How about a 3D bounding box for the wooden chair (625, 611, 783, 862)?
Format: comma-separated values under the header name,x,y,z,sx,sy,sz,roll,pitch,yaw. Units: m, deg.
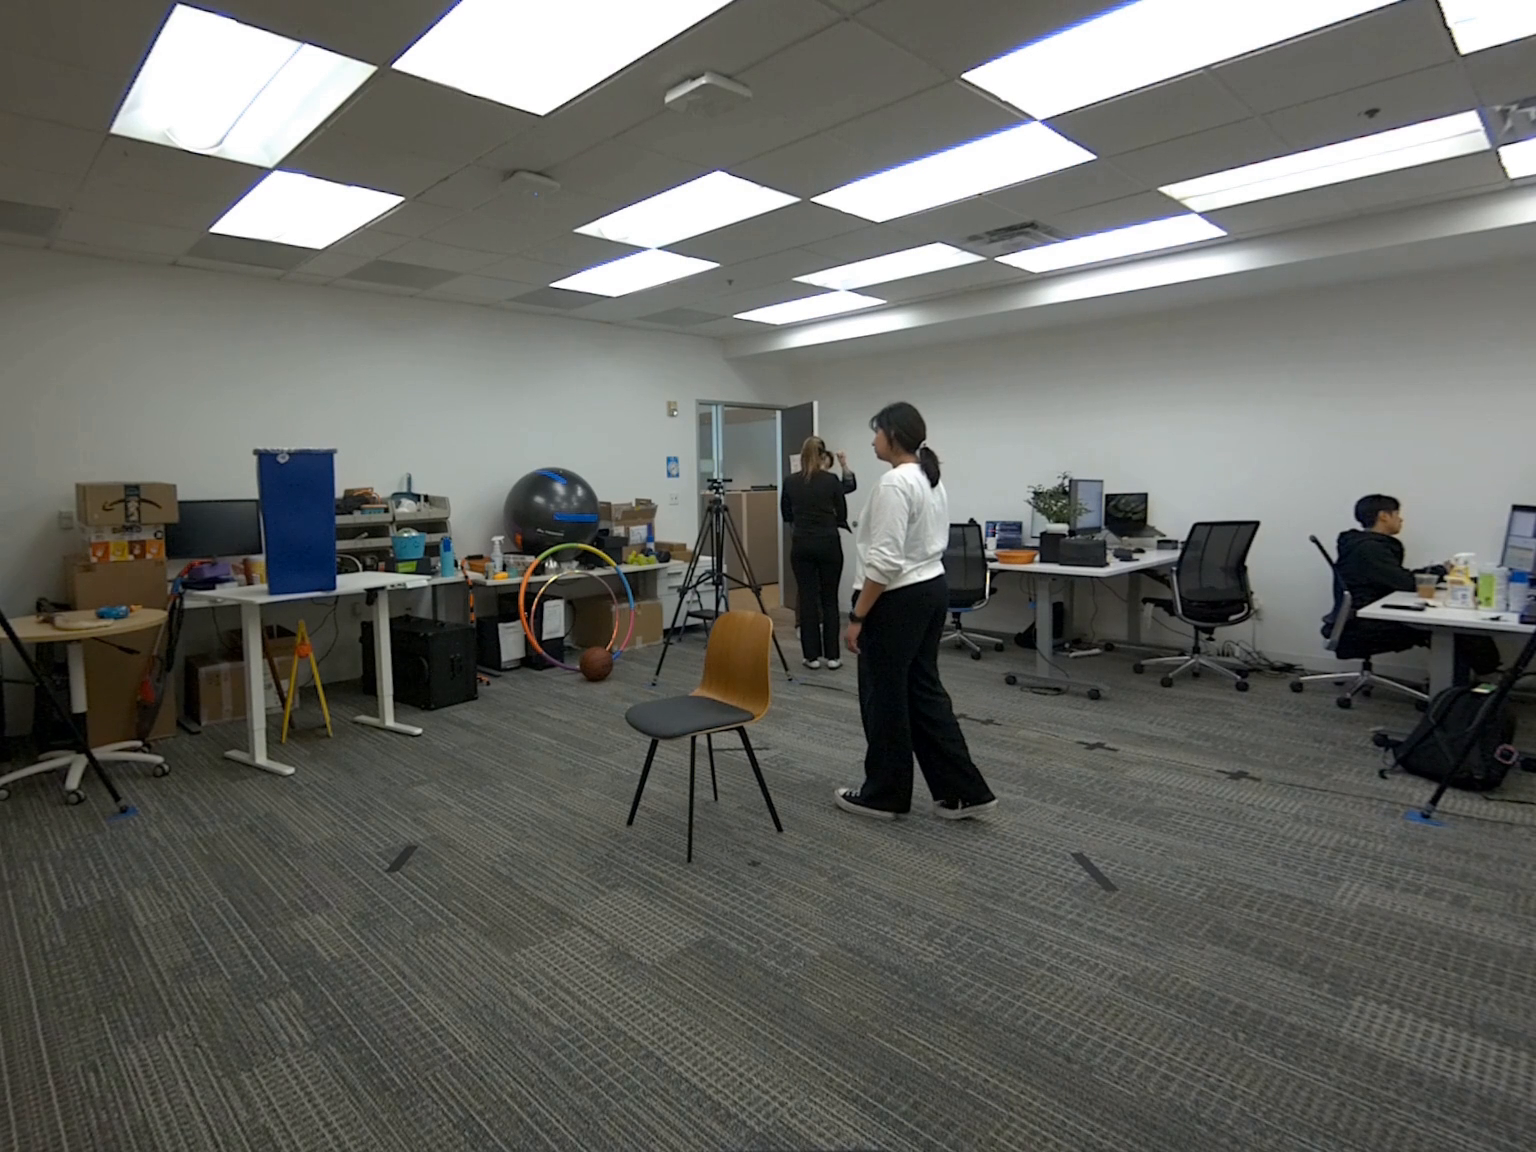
name,x,y,z,sx,sy,sz,roll,pitch,yaw
wooden chair,-0.266,0.589,3.389,0.508,0.877,0.492,2,1,-39
